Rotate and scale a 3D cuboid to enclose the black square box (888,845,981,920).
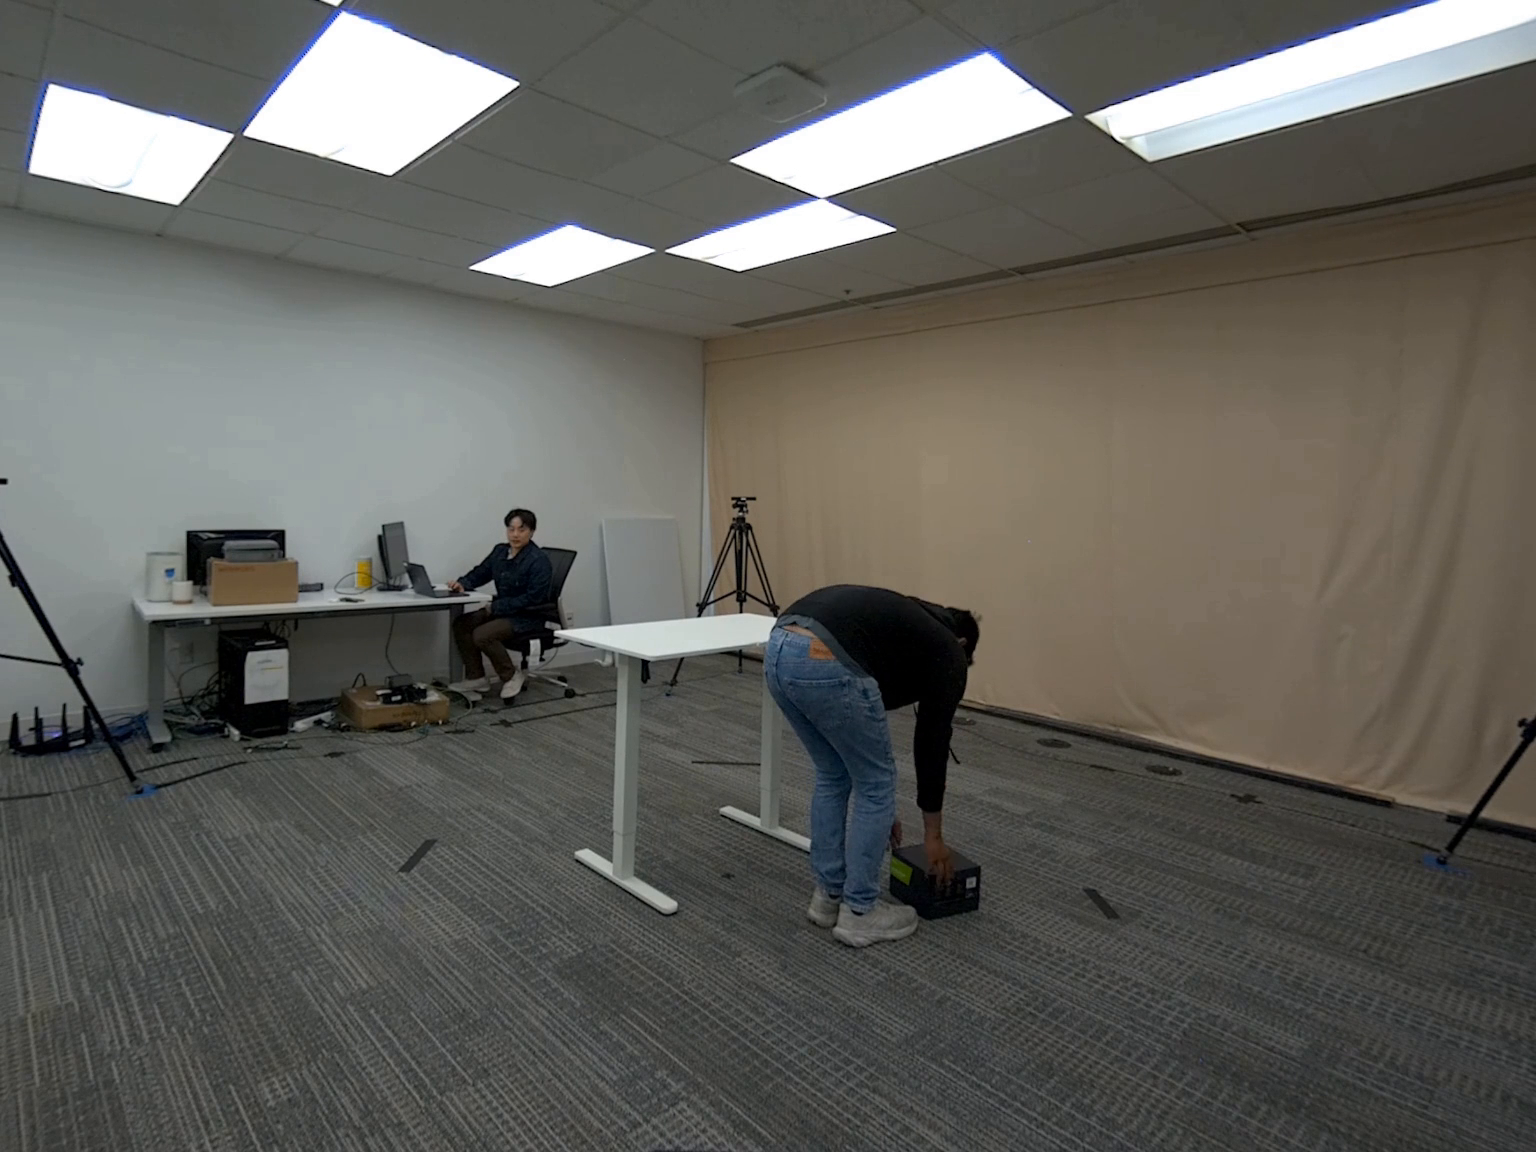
[{"bbox_3d":[0.571,1.053,2.941,0.213,0.155,0.233,0,5,-27],"label":"black square box"}]
